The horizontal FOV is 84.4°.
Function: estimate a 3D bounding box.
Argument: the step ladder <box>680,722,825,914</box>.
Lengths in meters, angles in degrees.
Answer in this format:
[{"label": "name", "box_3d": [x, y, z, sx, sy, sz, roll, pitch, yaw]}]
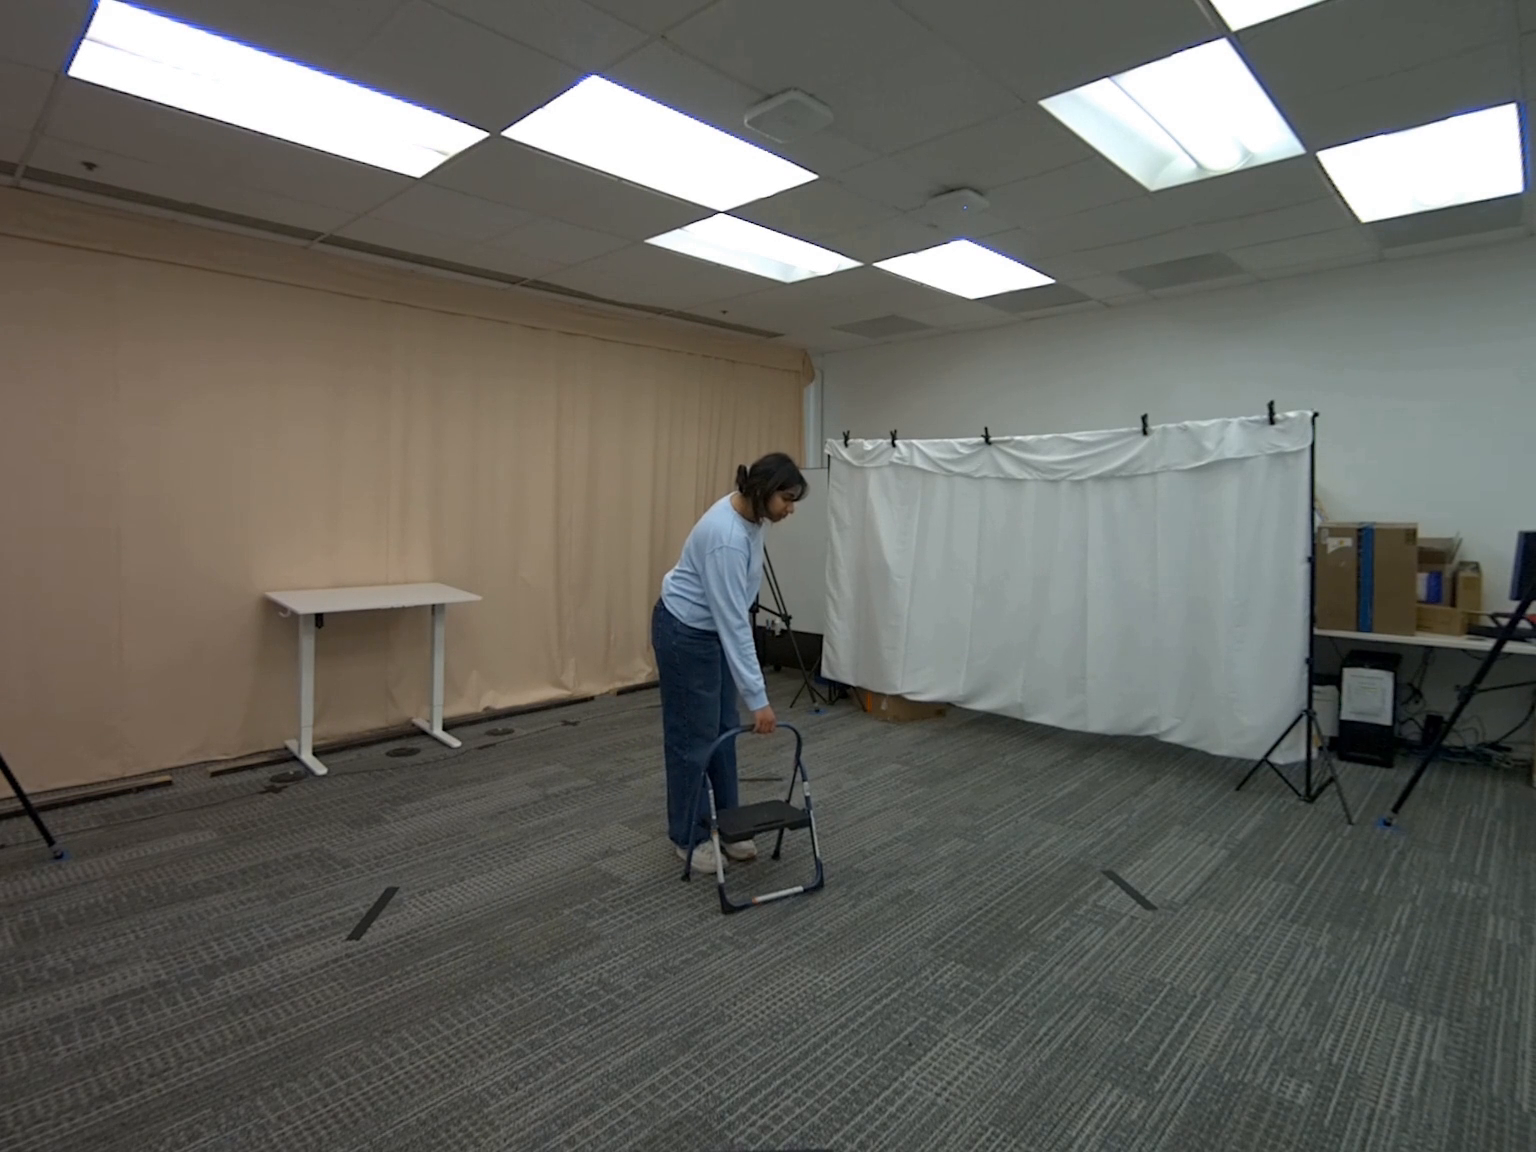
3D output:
[{"label": "step ladder", "box_3d": [-0.065, 0.824, 3.089, 0.419, 0.605, 0.359, -3, 2, -30]}]
